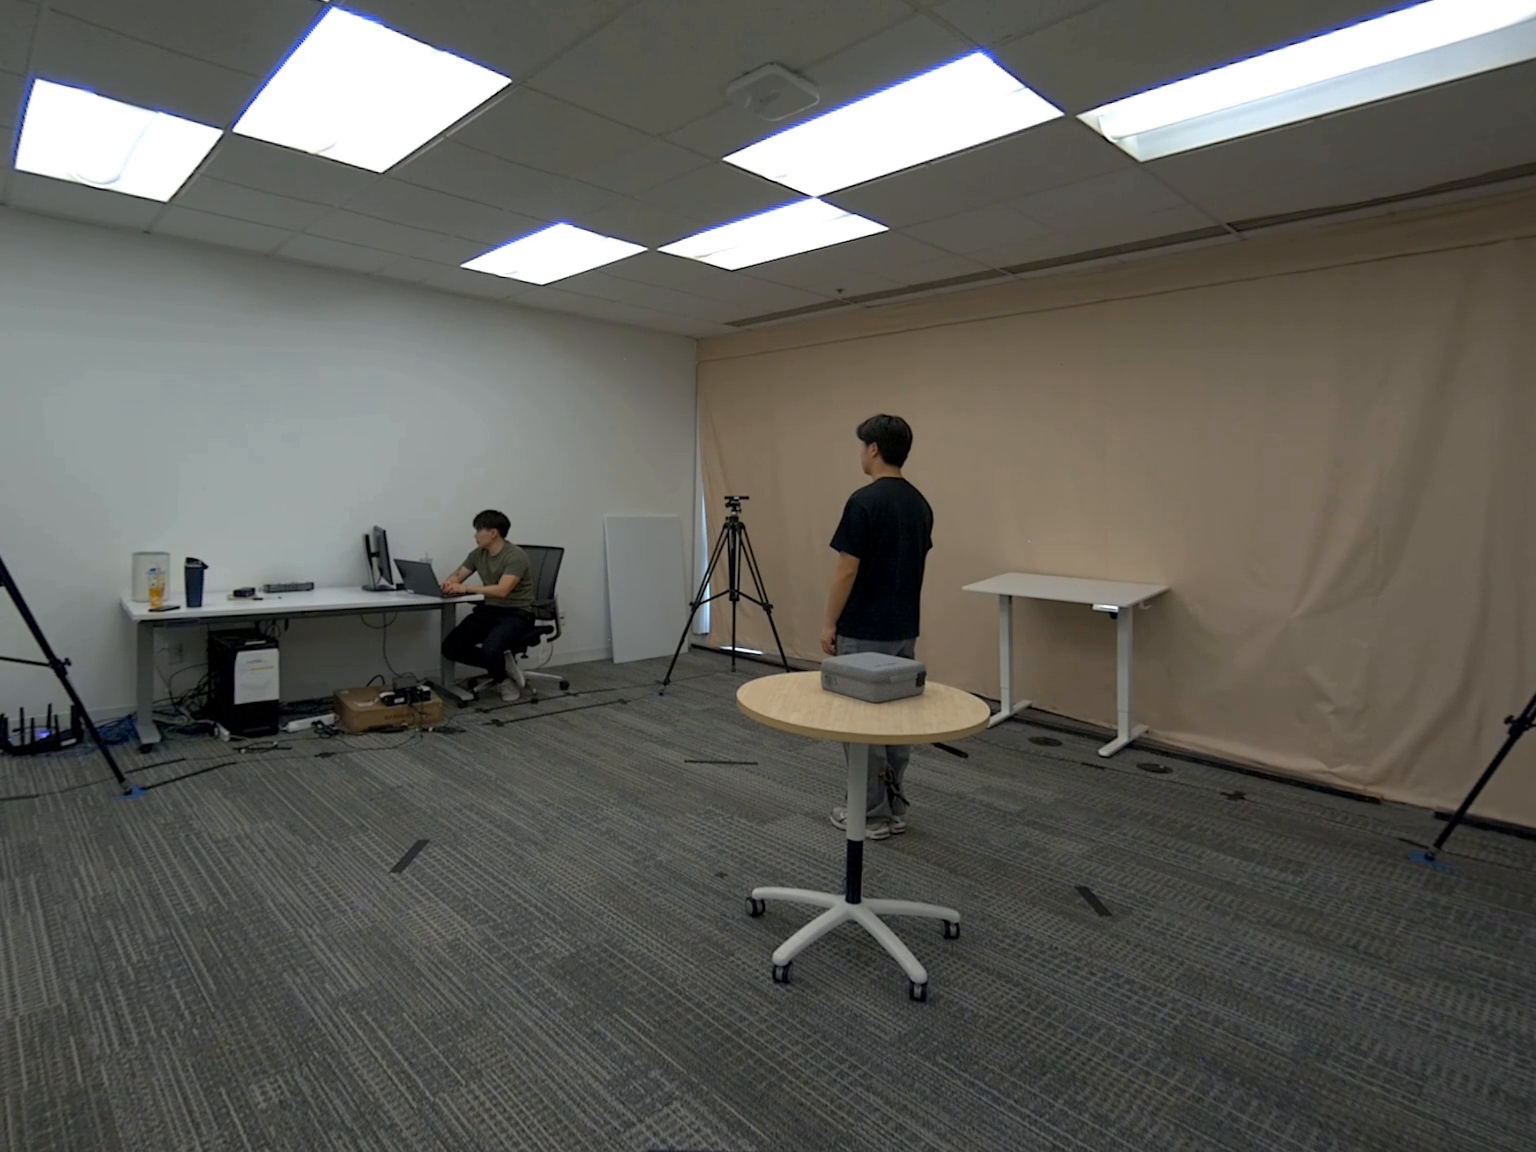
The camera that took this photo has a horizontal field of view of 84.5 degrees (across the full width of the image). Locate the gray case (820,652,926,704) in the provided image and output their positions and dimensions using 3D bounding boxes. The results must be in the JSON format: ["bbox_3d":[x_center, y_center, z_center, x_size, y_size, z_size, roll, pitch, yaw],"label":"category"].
[{"bbox_3d":[0.316,0.315,2.690,0.257,0.103,0.294,-1,4,-37],"label":"gray case"}]
